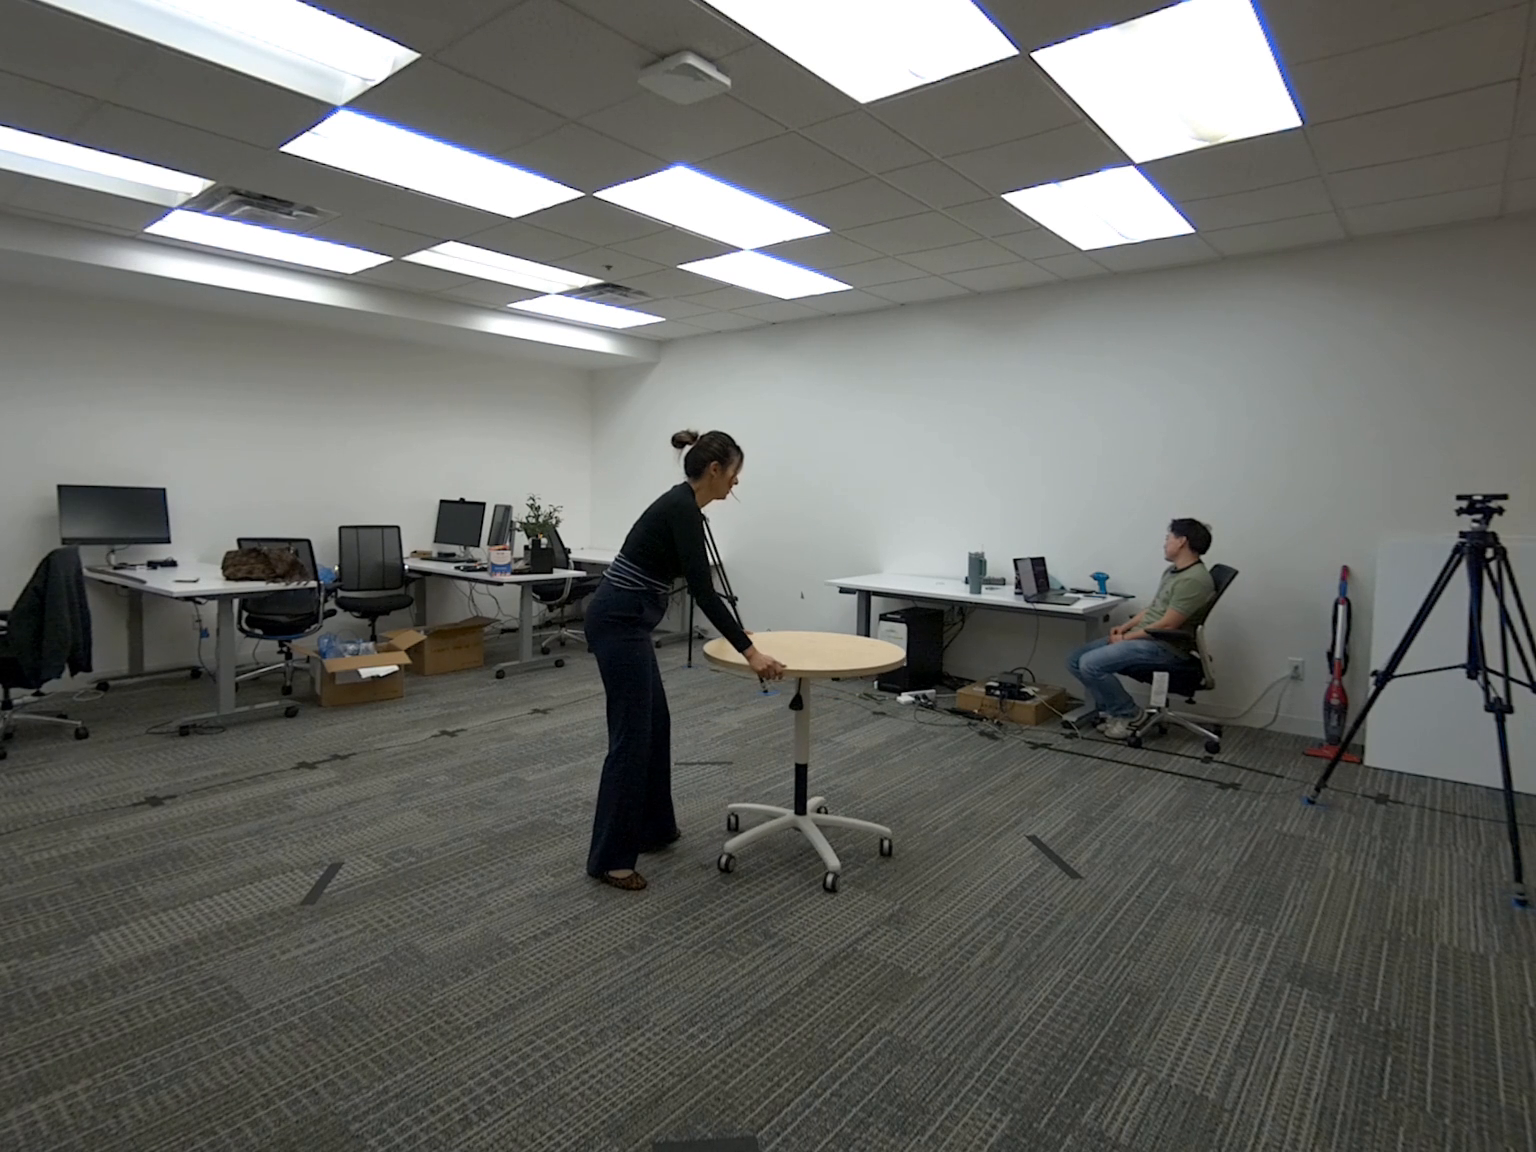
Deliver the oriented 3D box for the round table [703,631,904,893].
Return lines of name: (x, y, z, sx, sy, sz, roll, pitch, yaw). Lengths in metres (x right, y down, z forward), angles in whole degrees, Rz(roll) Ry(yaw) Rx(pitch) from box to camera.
round table: (0.113, 0.669, 3.260, 0.763, 0.791, 0.768, 1, 4, -2)
